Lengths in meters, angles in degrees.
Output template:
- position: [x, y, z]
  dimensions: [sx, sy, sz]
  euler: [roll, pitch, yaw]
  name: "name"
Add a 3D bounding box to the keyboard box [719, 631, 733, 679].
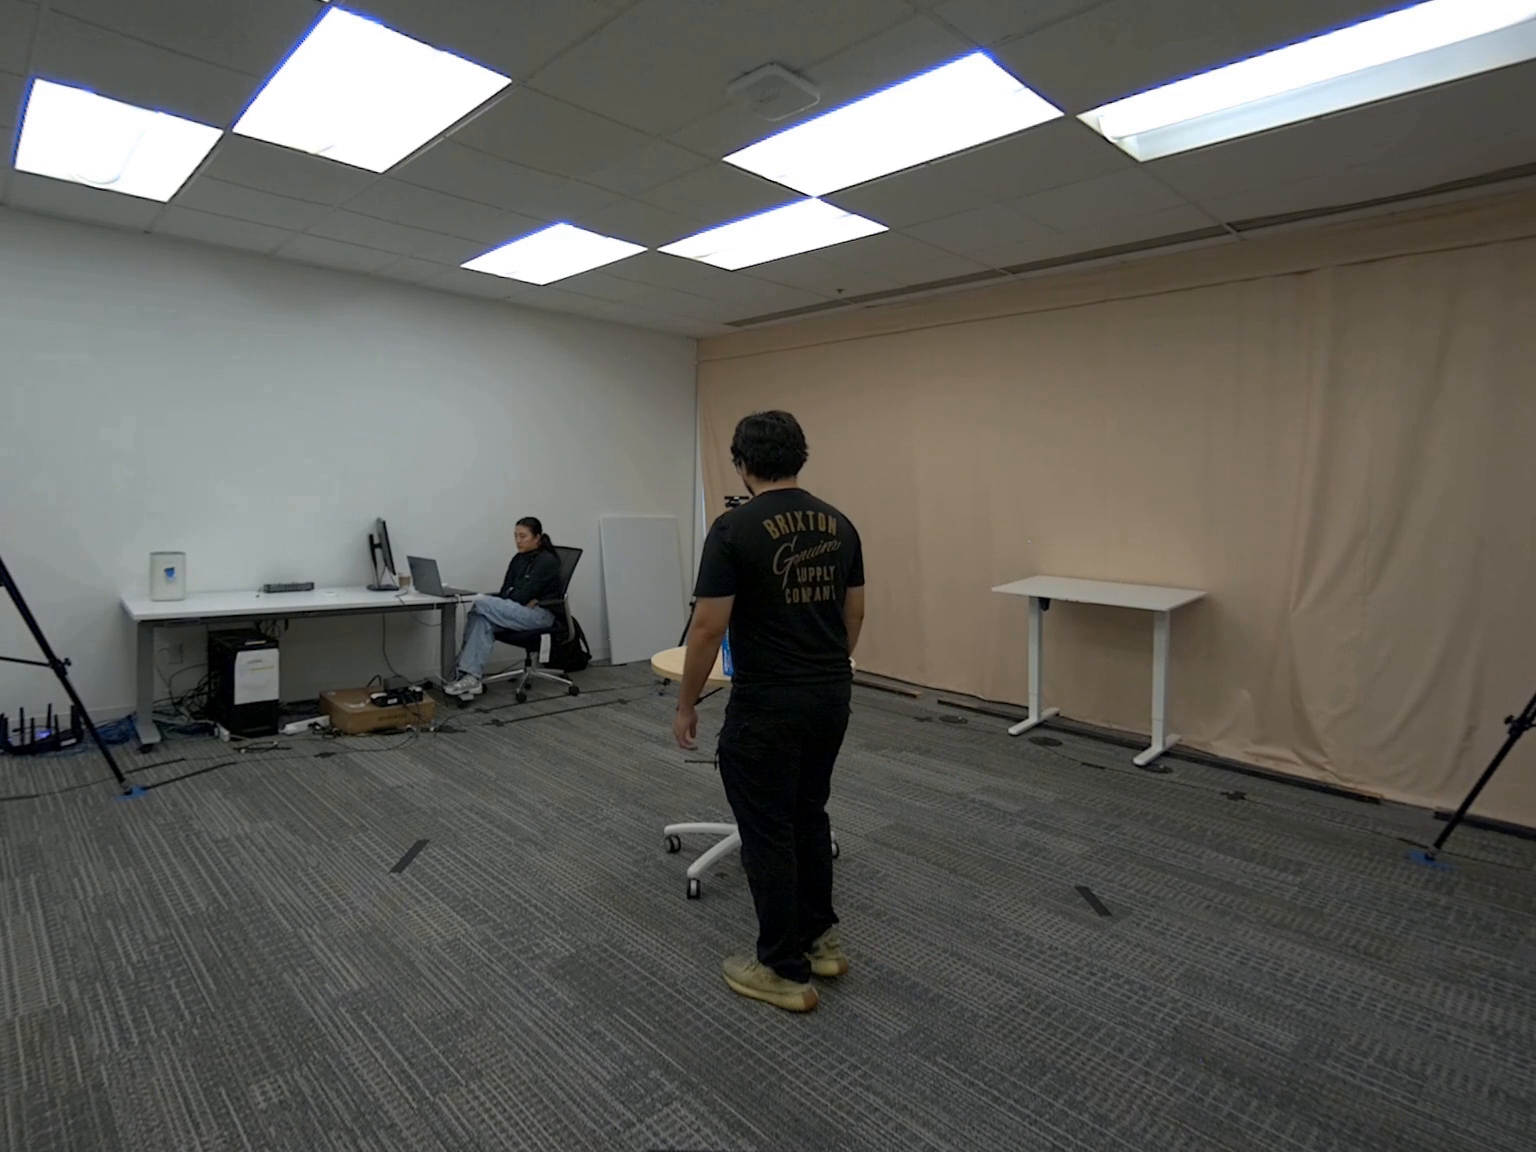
- position: [0.018, 0.247, 3.015]
  dimensions: [0.427, 0.176, 0.060]
  euler: [-4, -1, -43]
  name: "keyboard box"
